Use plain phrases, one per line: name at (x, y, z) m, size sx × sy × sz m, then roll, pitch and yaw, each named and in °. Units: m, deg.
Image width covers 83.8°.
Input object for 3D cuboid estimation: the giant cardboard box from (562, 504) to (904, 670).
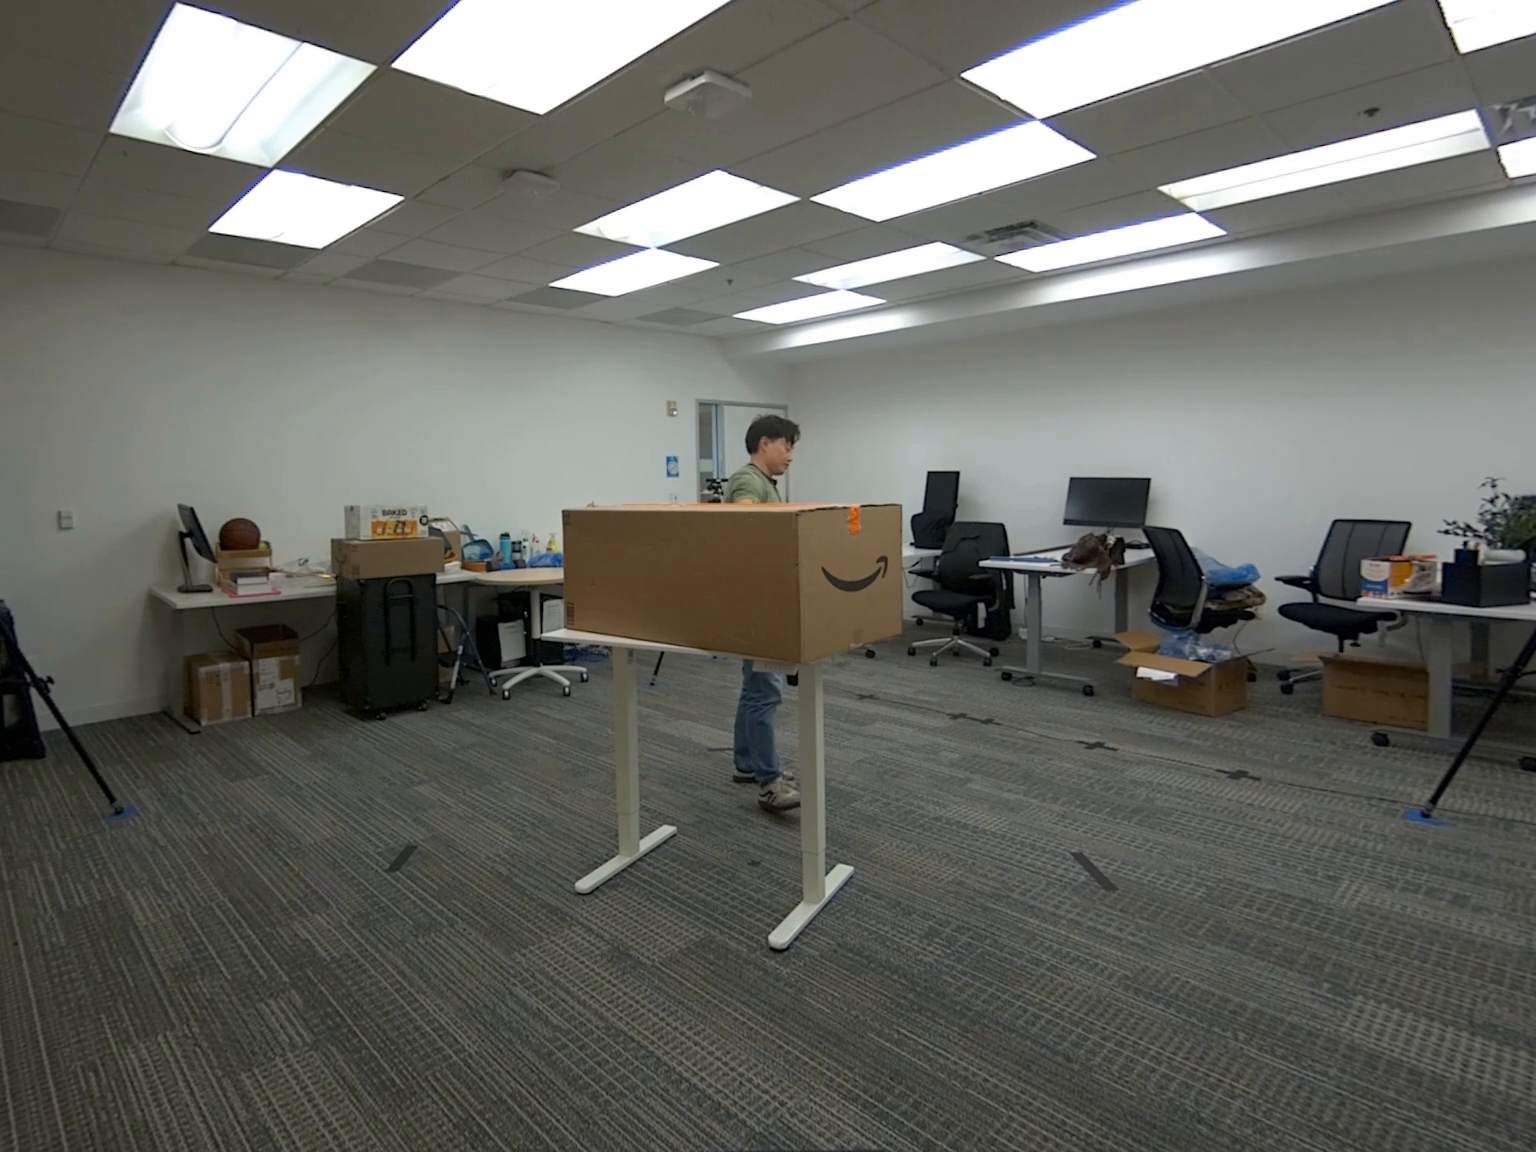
giant cardboard box at (-0.144, -0.021, 2.869) m, size 1.057 × 0.425 × 0.563 m, roll 3°, pitch 6°, yaw 40°
